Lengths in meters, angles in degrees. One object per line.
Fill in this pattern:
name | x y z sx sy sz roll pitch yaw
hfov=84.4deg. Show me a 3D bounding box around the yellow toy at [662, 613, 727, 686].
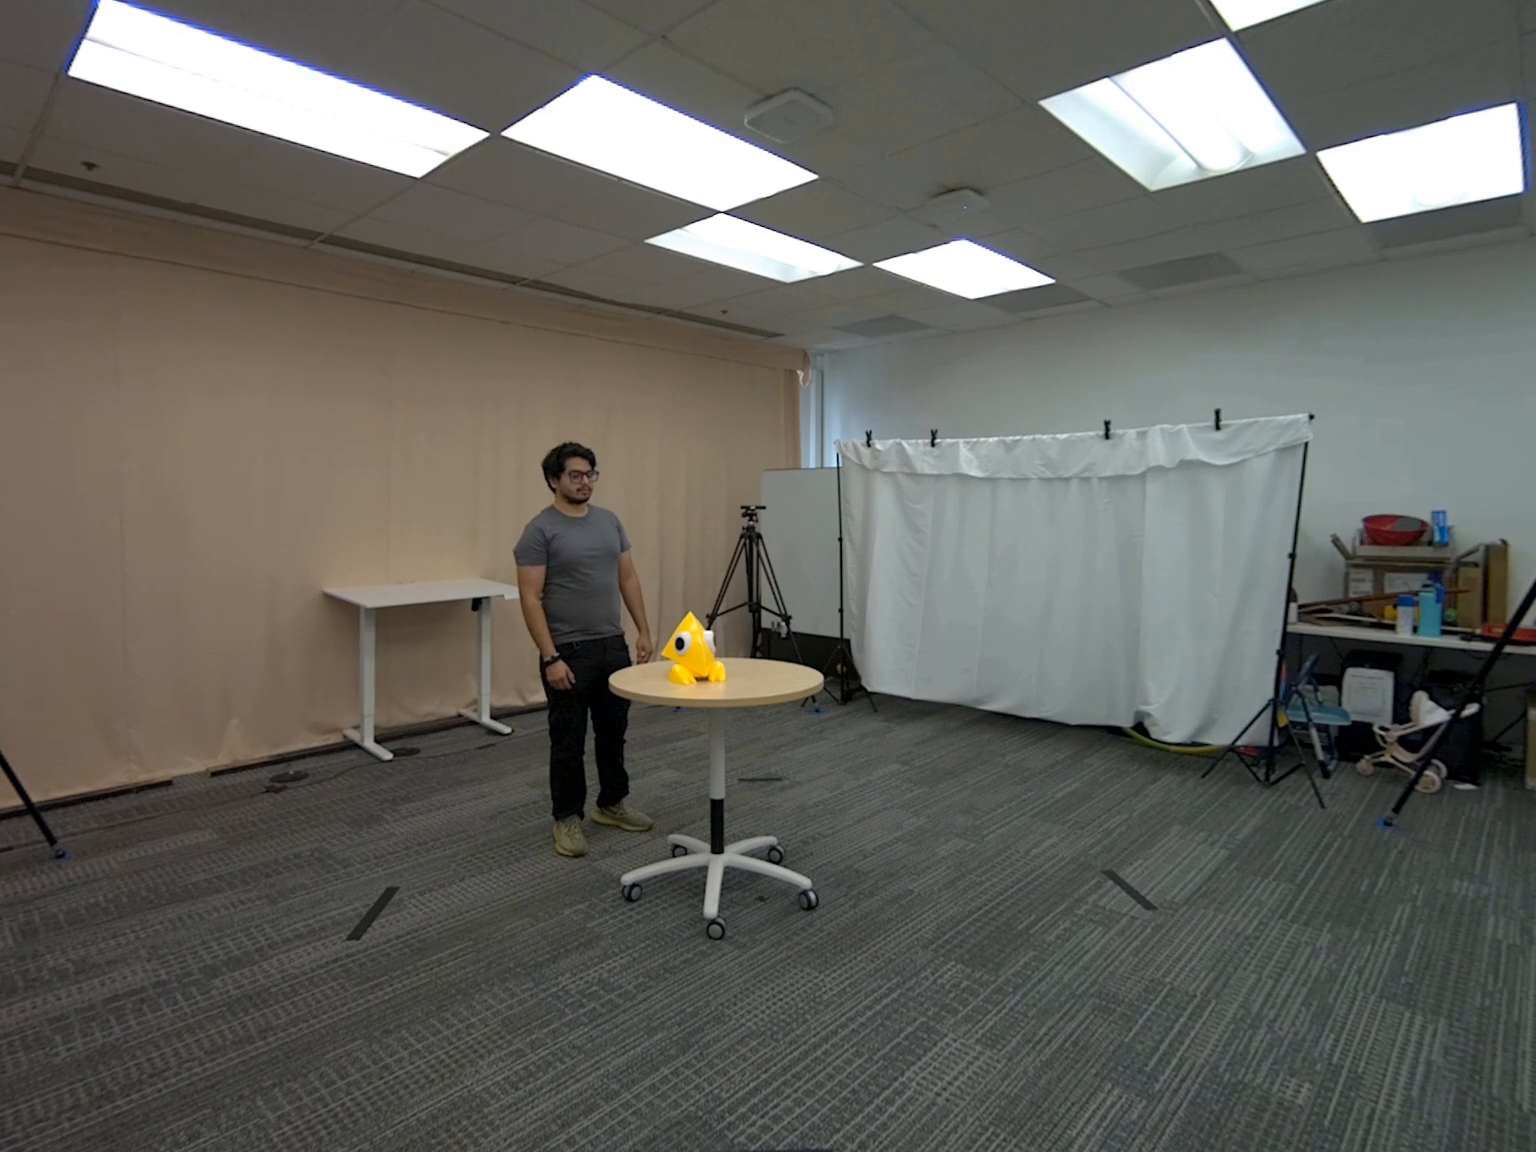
yellow toy | -0.251 0.249 2.971 0.200 0.230 0.198 -1 4 -23
